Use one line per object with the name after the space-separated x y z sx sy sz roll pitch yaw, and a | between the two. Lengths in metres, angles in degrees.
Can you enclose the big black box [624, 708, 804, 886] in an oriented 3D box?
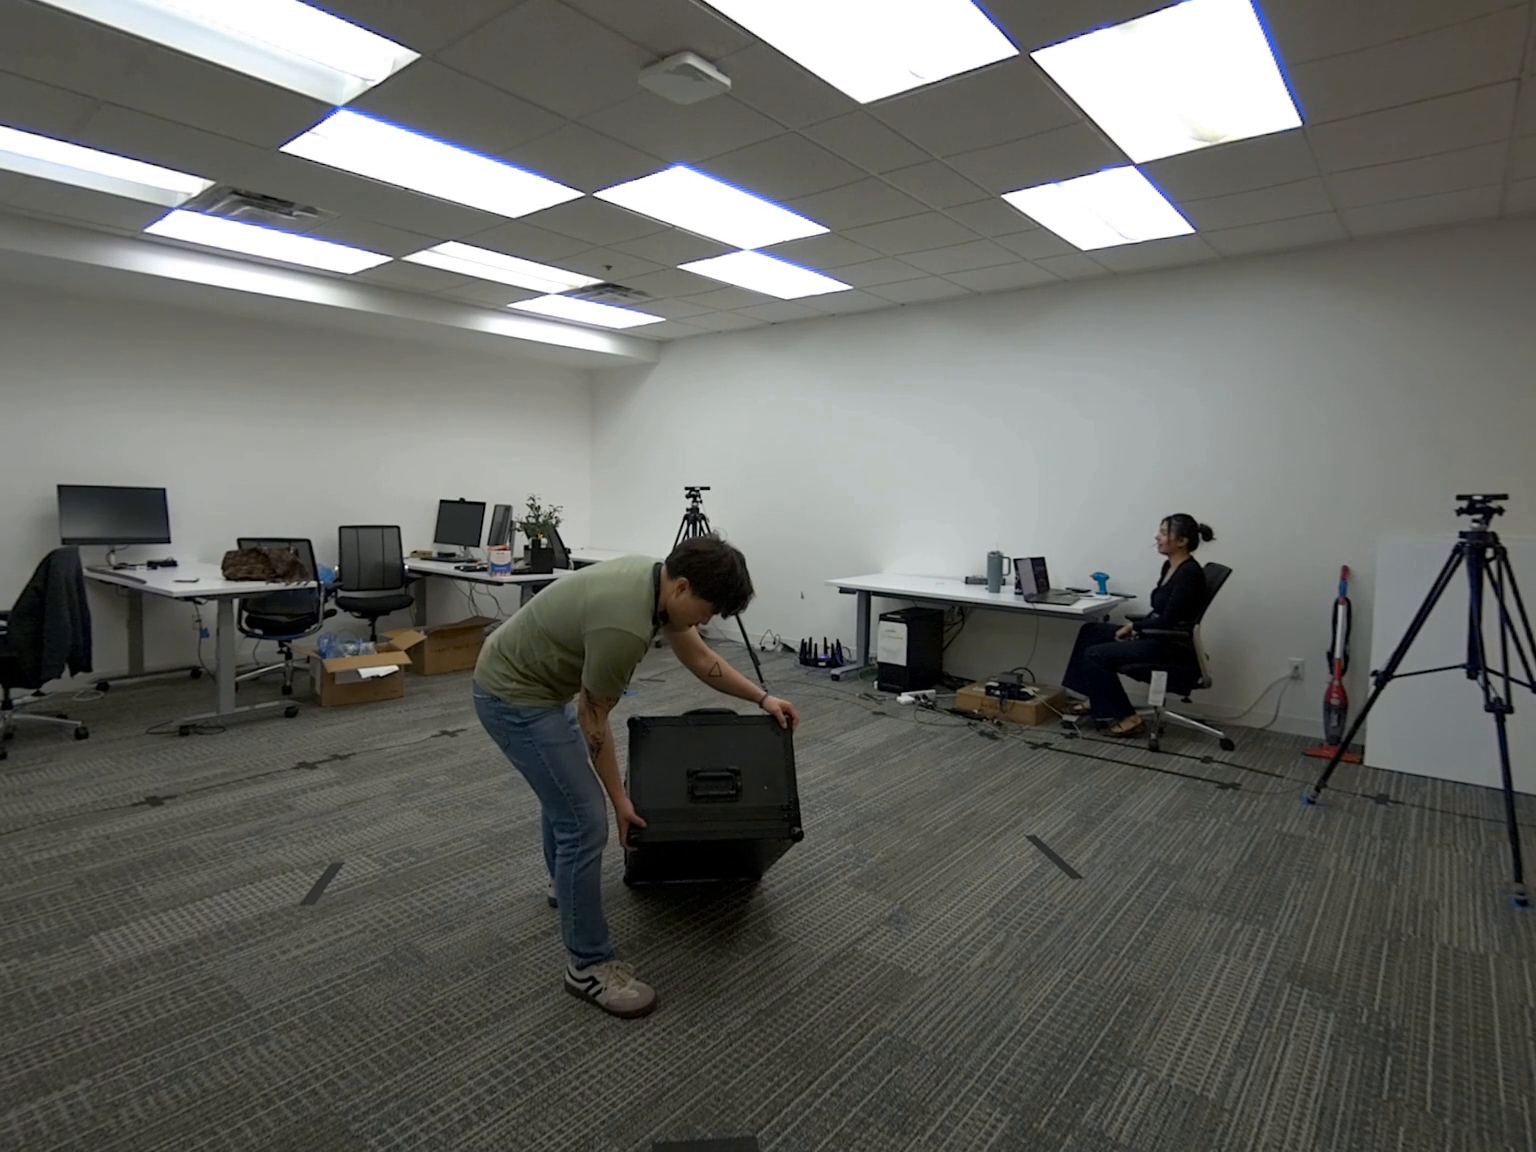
-0.237 0.744 2.787 0.517 0.407 0.845 0 -29 -8 | big black box
